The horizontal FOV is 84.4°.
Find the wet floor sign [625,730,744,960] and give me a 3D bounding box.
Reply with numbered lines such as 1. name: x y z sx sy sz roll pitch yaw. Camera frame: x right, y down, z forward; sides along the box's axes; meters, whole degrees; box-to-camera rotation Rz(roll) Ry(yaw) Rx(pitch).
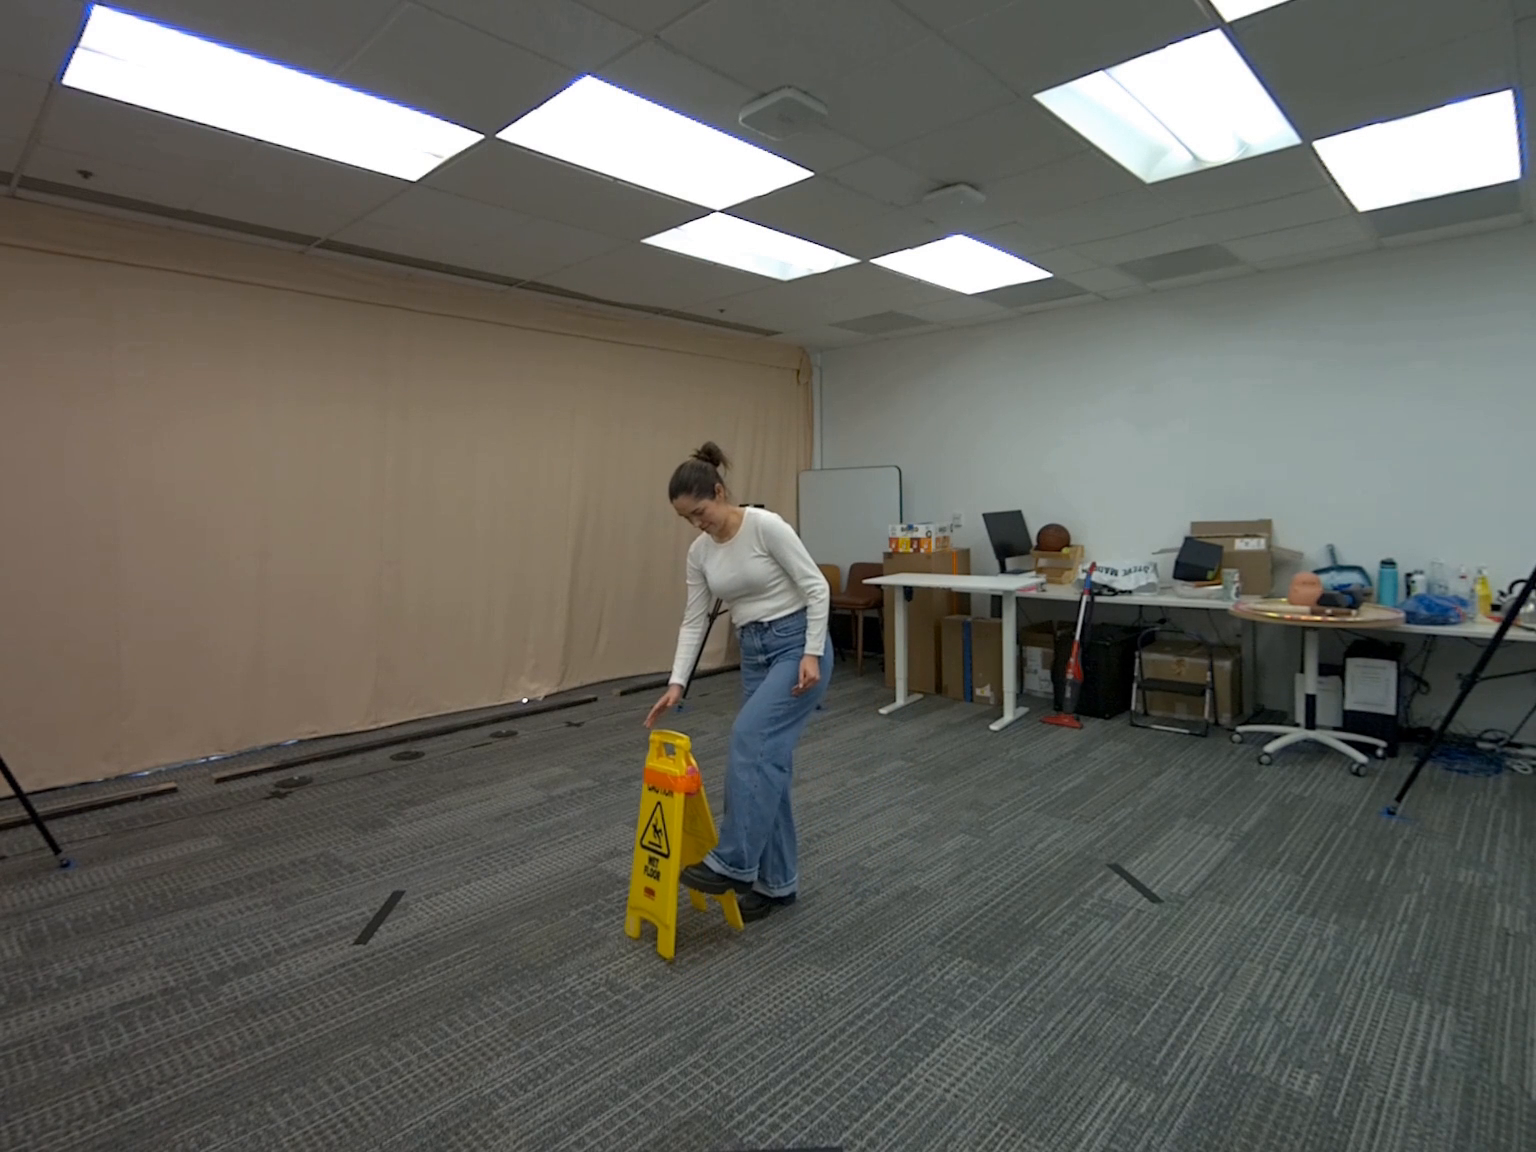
1. wet floor sign: -0.294 0.836 2.748 0.281 0.647 0.291 -3 -1 -40
